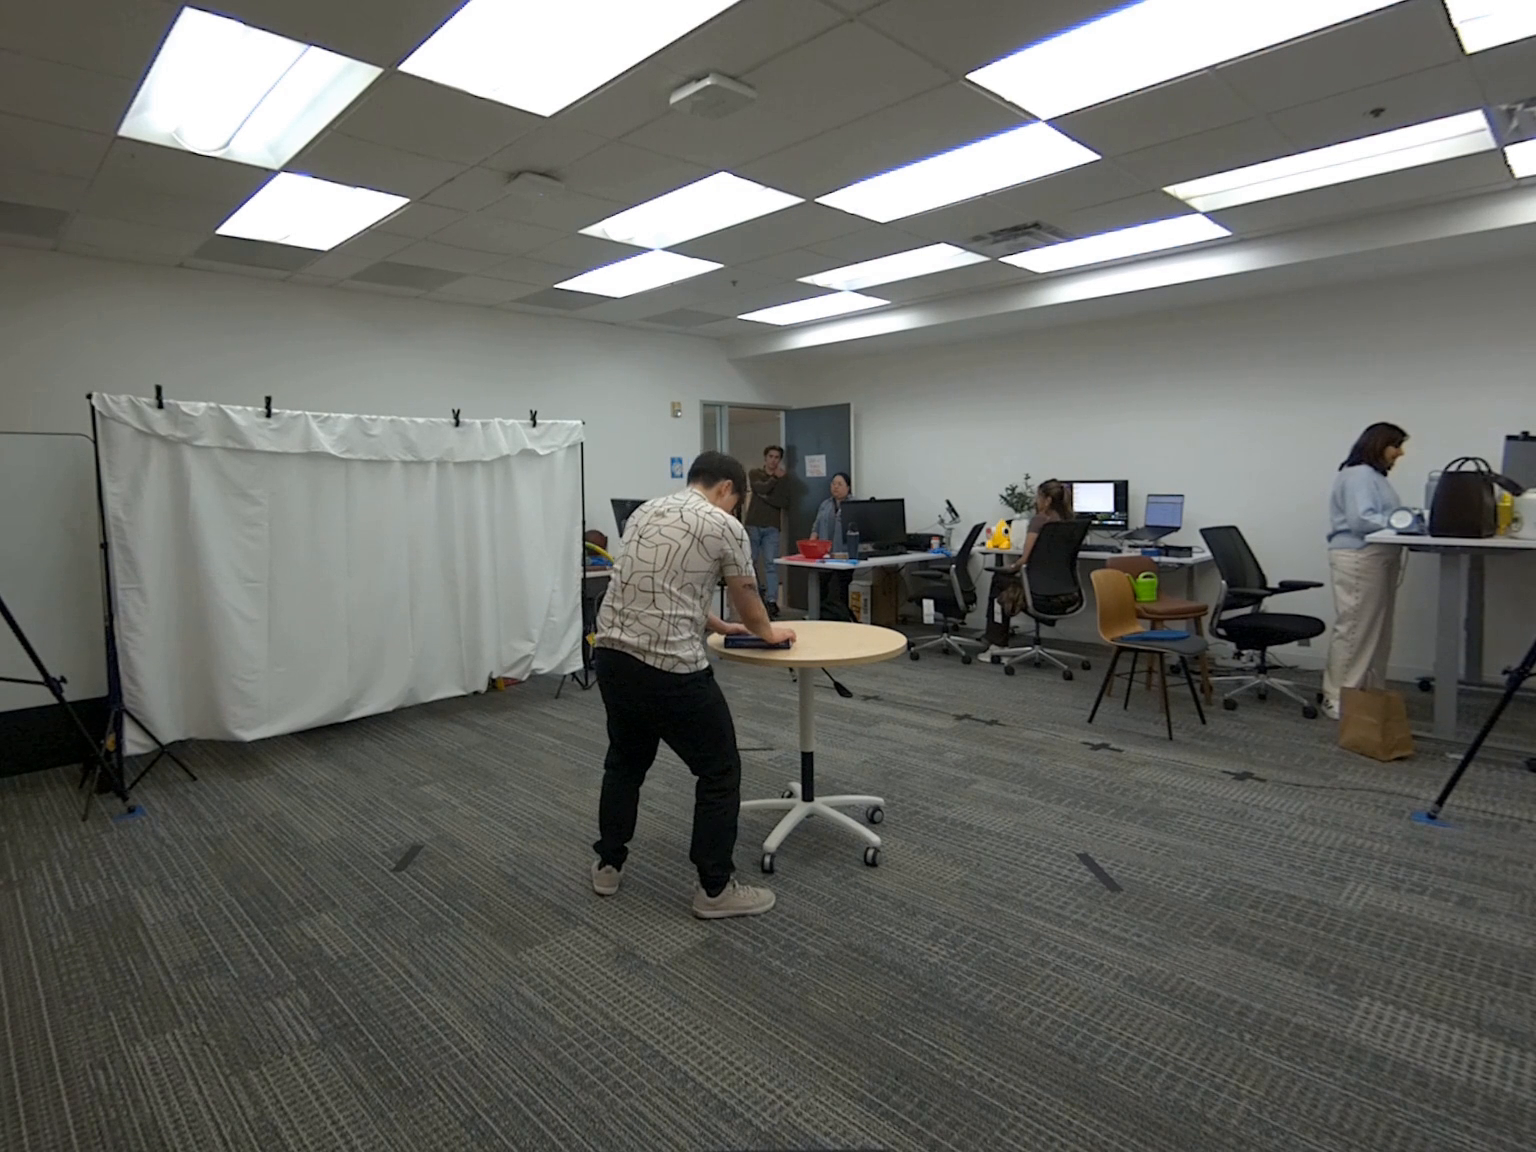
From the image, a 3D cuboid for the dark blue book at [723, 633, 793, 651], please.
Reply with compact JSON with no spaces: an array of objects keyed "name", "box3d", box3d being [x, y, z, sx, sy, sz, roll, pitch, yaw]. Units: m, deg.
[{"name":"dark blue book","box3d":[-0.027,0.243,3.203,0.247,0.045,0.163,-1,7,9]}]
